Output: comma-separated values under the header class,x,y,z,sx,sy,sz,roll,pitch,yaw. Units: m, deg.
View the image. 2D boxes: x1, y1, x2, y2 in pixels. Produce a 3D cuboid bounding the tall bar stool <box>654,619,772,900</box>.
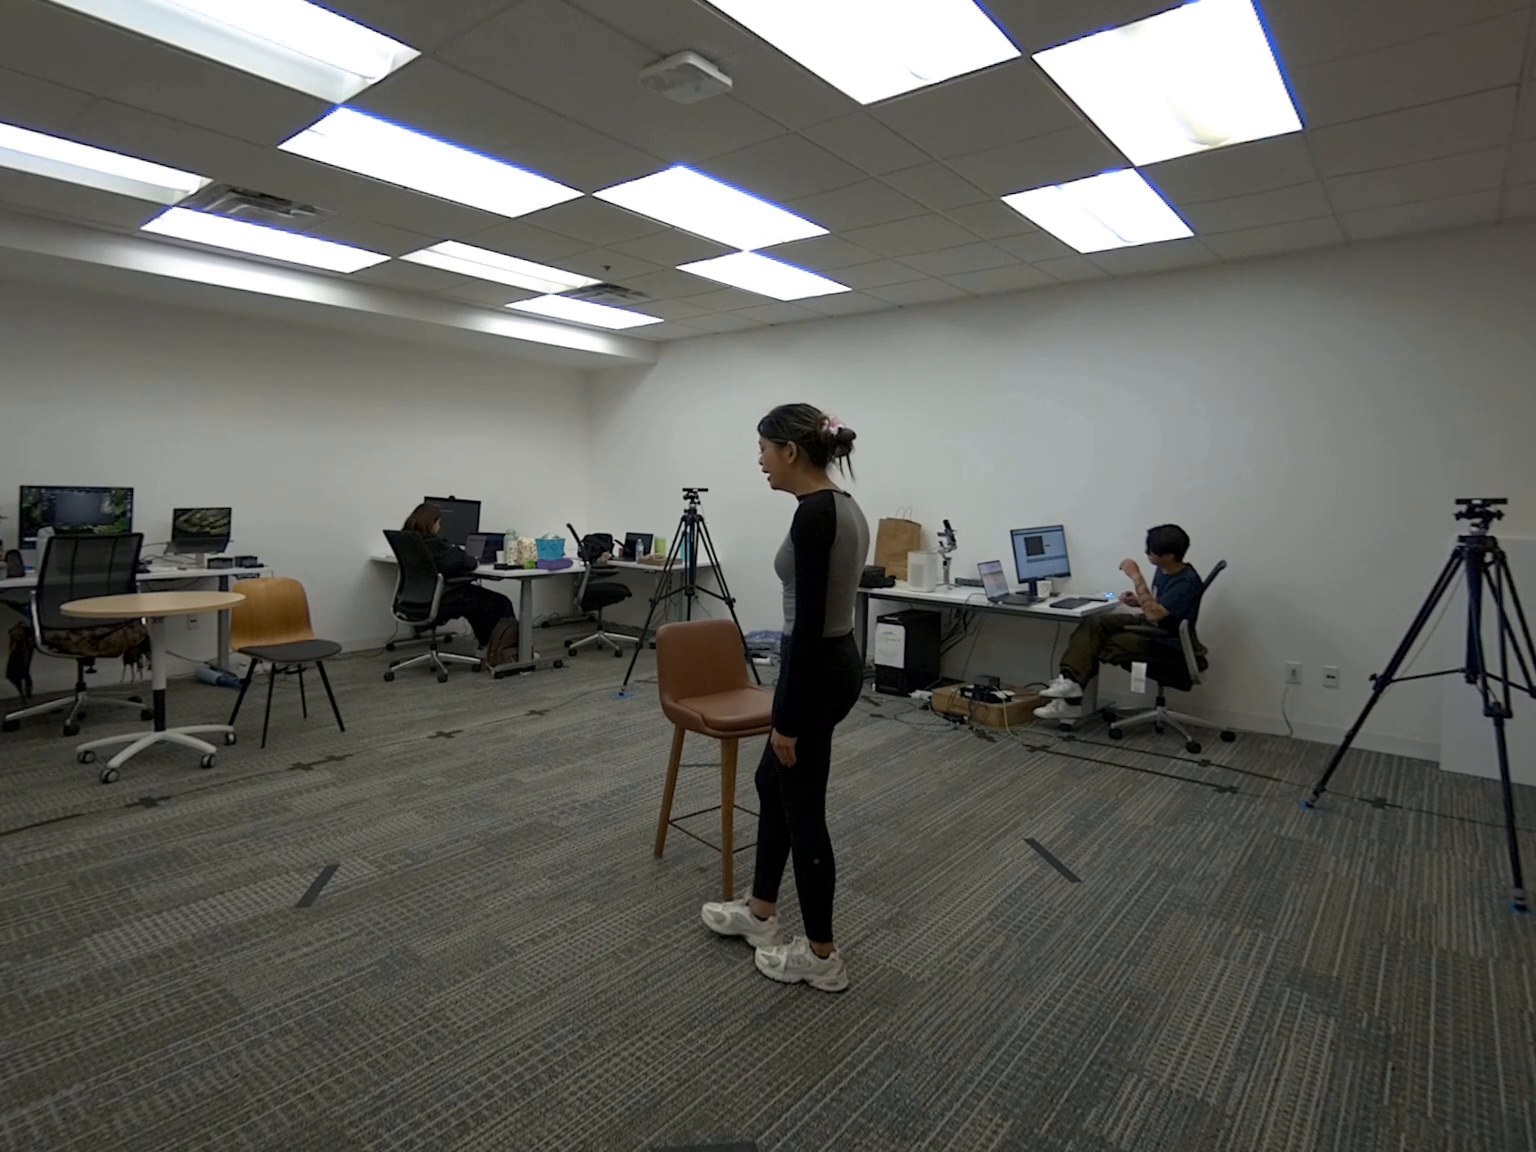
class,x,y,z,sx,sy,sz,roll,pitch,yaw
tall bar stool,-0.149,0.631,3.148,0.442,0.888,0.483,-2,2,-42
